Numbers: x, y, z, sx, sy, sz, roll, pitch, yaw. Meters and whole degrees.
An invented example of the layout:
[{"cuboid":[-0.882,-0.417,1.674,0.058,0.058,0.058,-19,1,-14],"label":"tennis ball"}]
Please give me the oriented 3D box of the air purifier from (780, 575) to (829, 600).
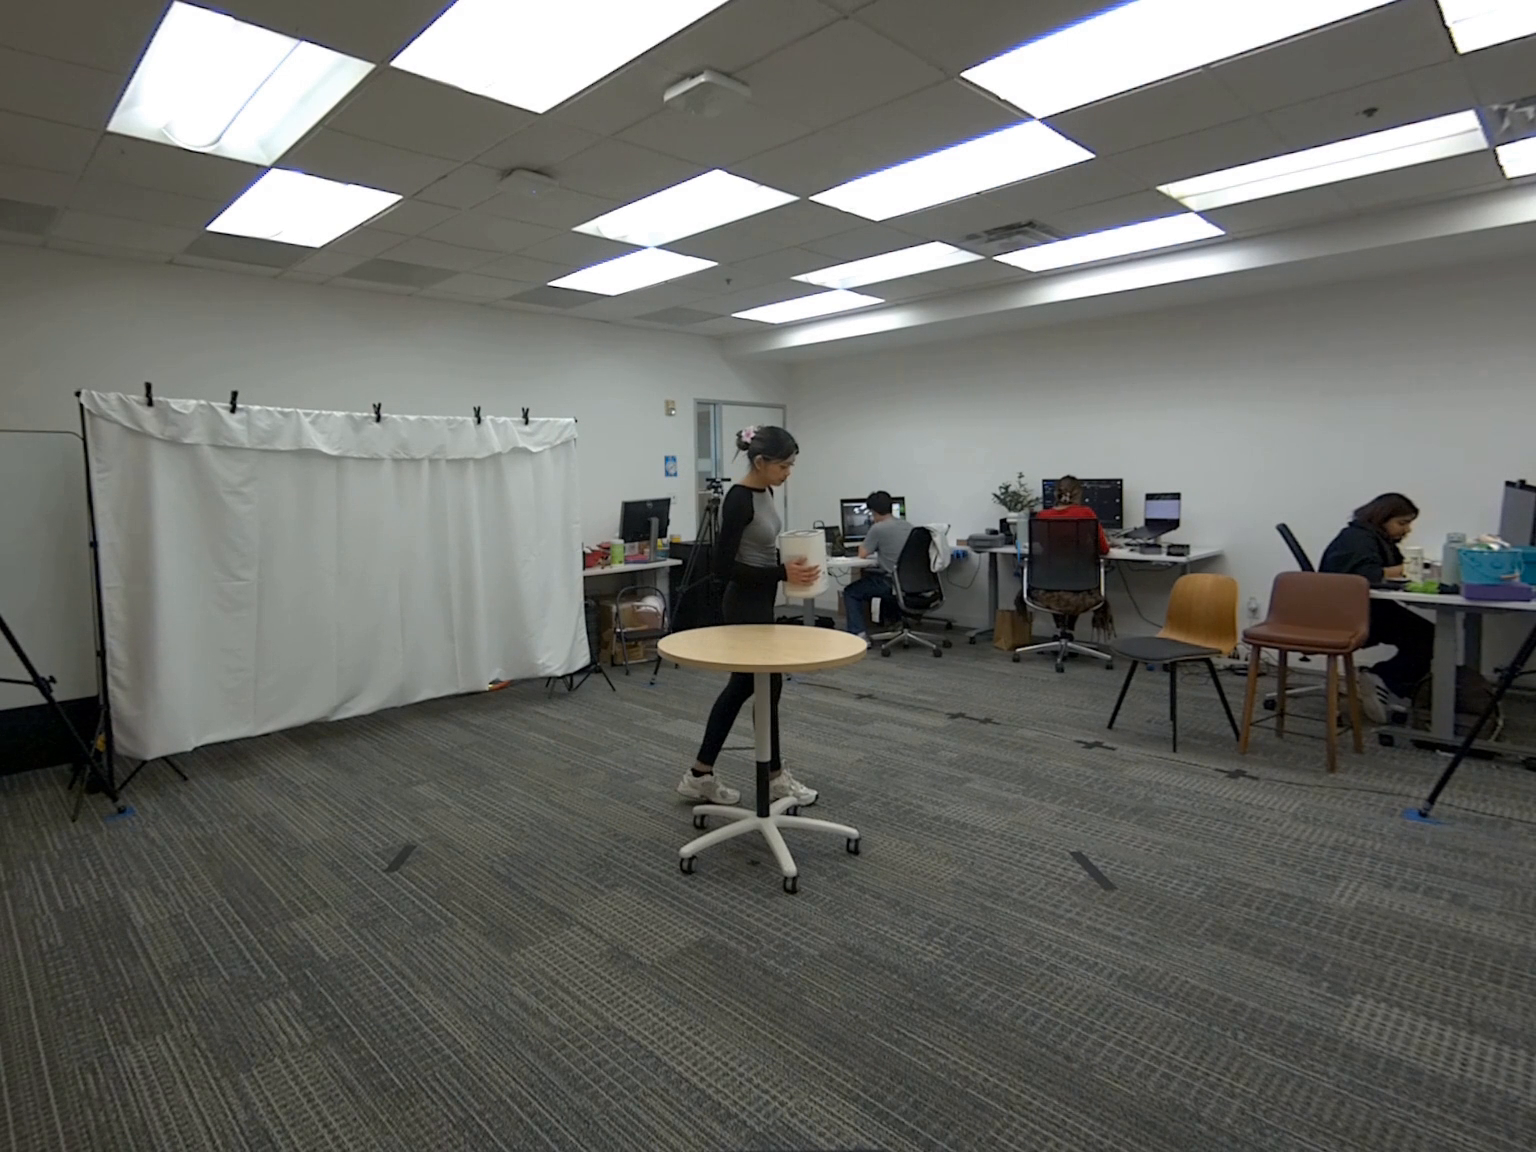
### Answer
[{"cuboid":[0.146,-0.050,3.551,0.174,0.263,0.170,-3,8,21],"label":"air purifier"}]
